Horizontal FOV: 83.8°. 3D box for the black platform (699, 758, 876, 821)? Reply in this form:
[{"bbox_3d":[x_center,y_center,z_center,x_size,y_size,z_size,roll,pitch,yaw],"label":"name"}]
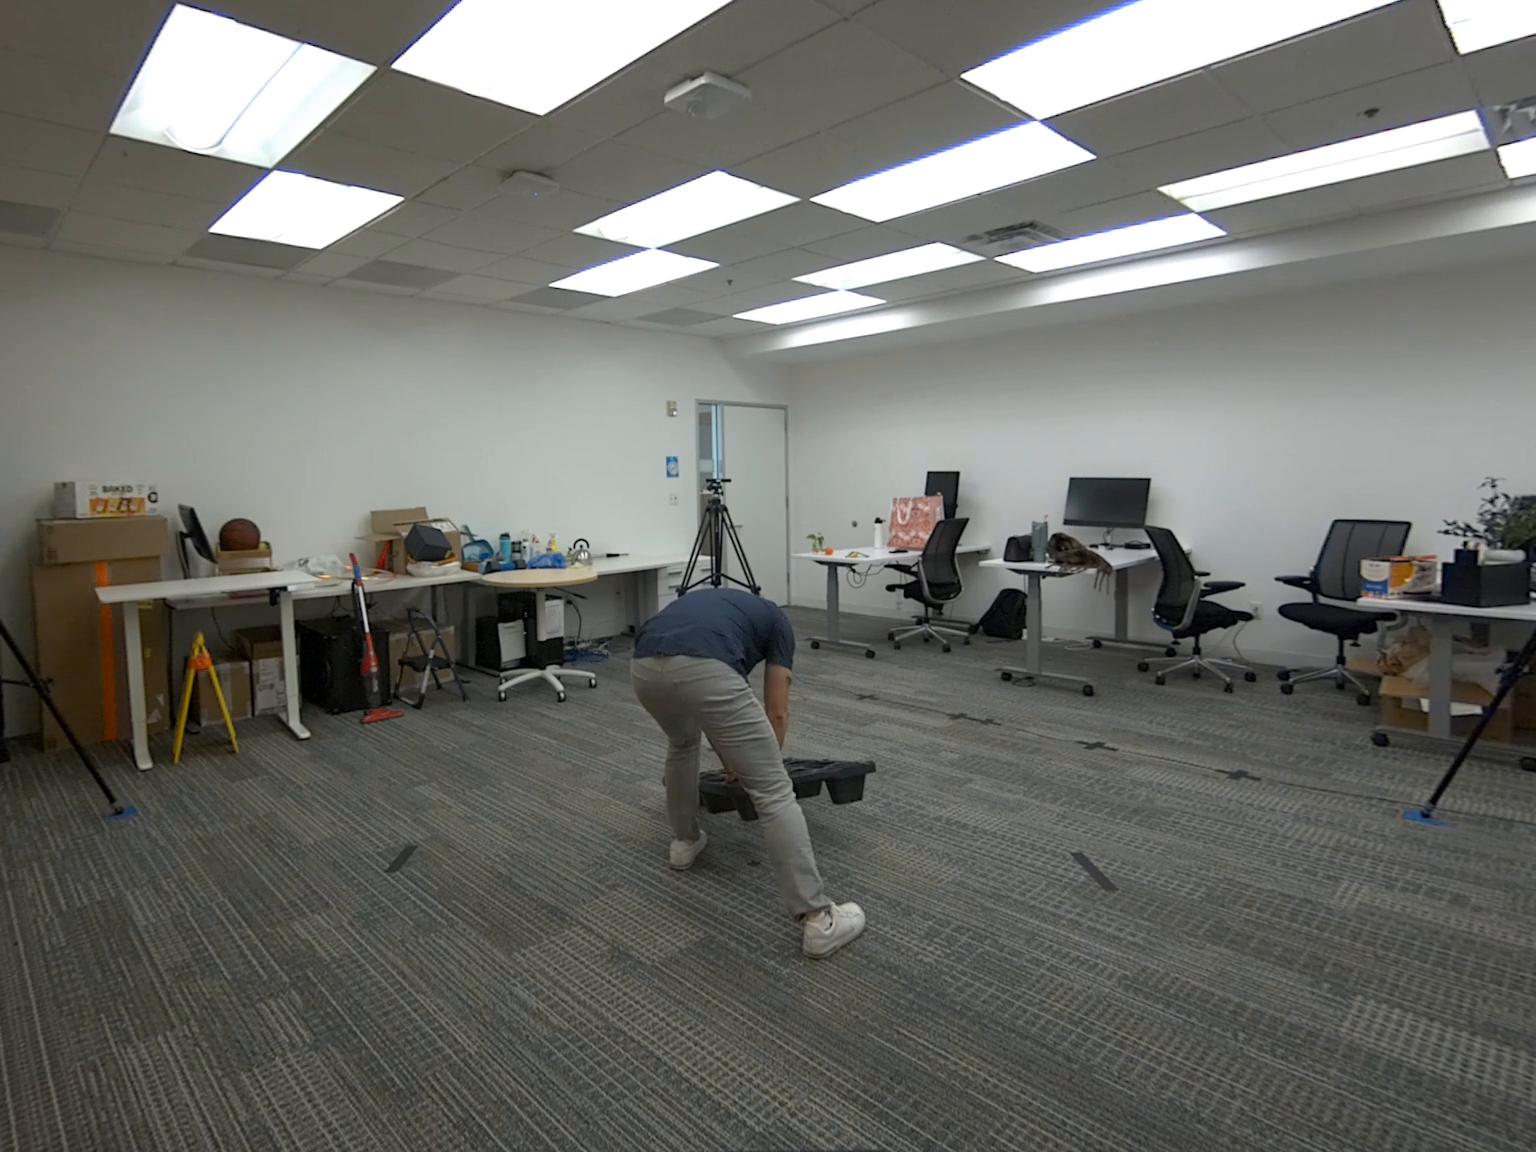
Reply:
[{"bbox_3d":[-0.018,0.847,3.421,0.593,0.145,0.813,-4,-9,-24],"label":"black platform"}]
